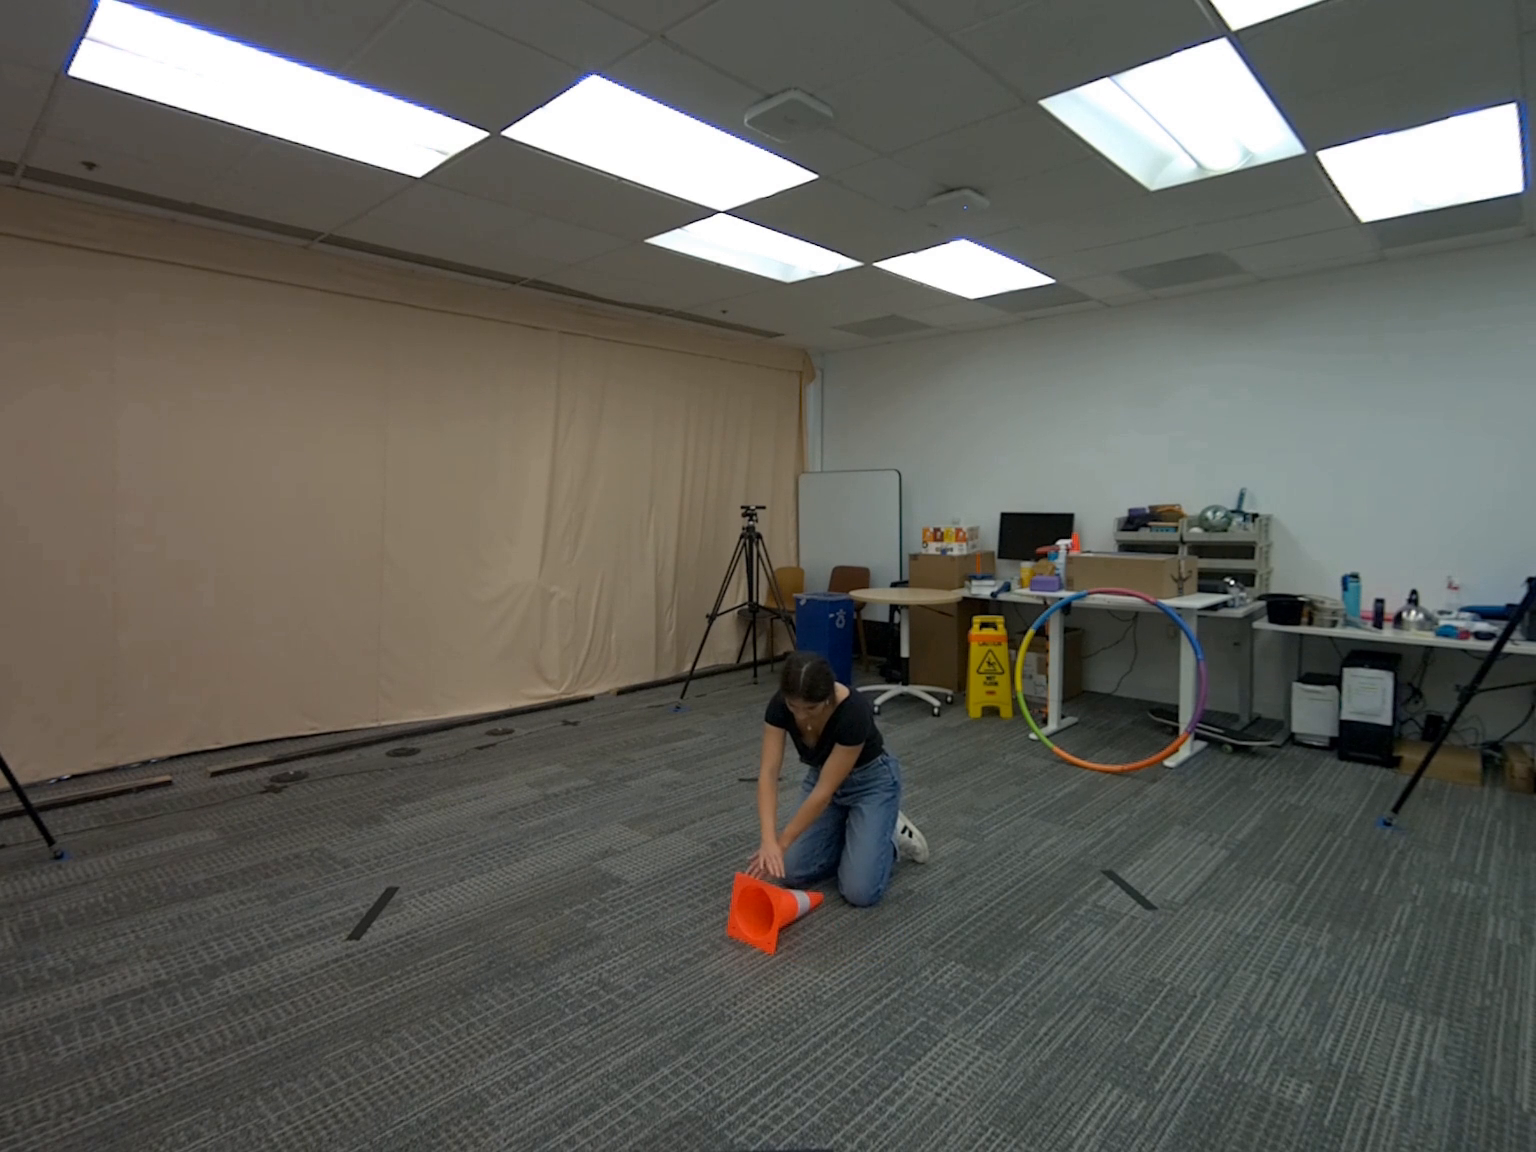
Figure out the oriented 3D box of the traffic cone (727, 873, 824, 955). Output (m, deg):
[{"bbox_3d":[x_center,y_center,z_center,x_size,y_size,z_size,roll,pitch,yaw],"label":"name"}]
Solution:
[{"bbox_3d":[0.086,1.106,2.820,0.212,0.204,0.370,2,-8,42],"label":"traffic cone"}]
